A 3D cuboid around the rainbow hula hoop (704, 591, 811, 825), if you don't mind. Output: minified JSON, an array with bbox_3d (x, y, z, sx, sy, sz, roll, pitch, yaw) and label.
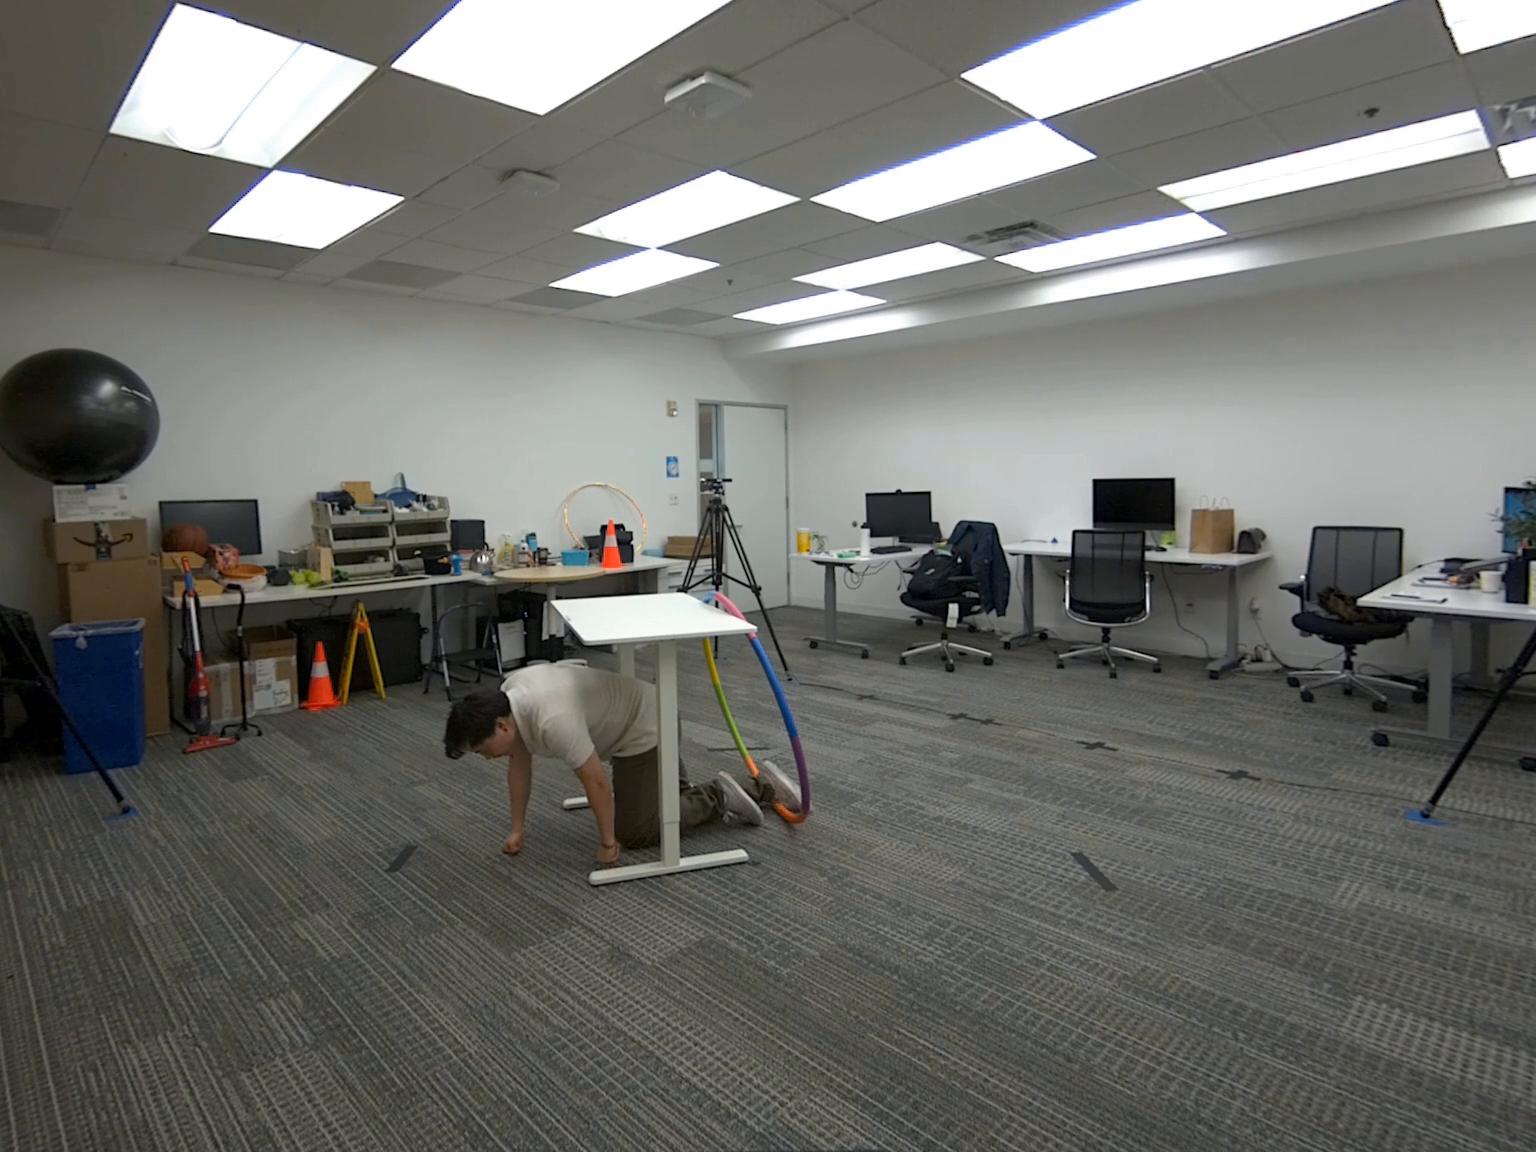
[{"bbox_3d":[-0.072,0.532,3.493,0.035,0.969,0.999,-19,10,-17],"label":"rainbow hula hoop"}]
